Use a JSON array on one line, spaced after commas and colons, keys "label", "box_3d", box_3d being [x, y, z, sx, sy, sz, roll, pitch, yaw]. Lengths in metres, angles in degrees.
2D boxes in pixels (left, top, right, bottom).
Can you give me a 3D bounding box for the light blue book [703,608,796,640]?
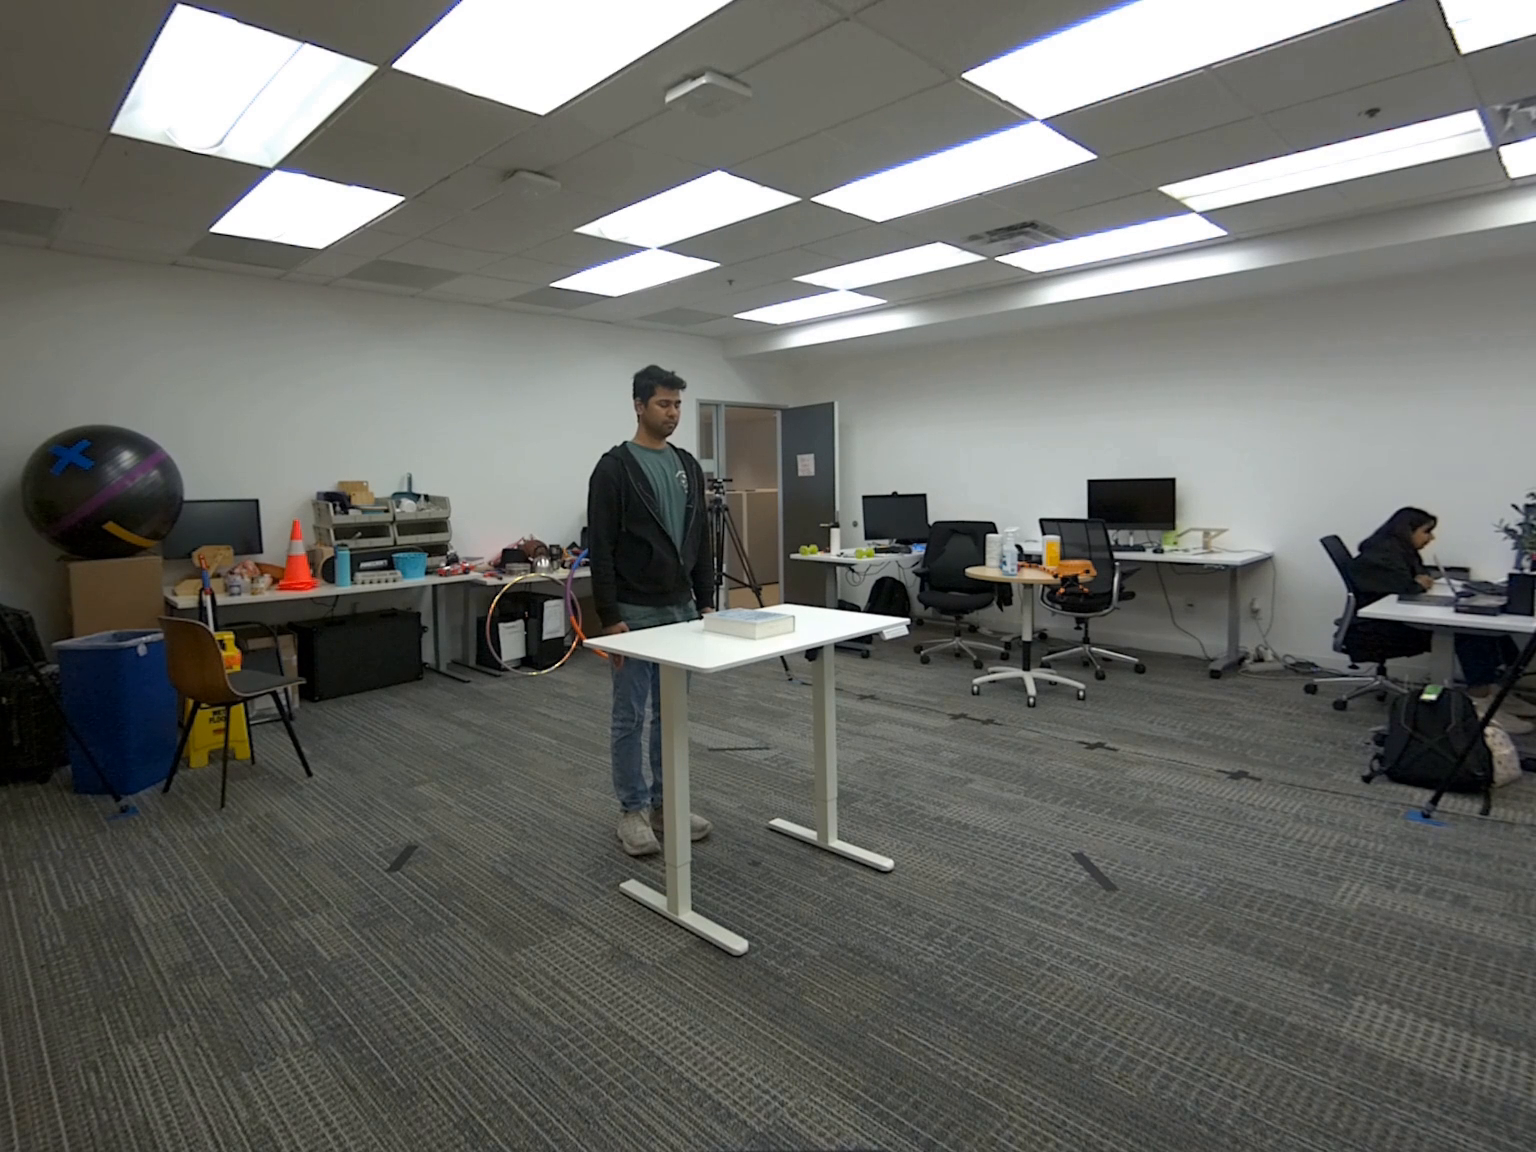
[{"label": "light blue book", "box_3d": [-0.067, 0.160, 2.884, 0.269, 0.059, 0.186, 5, 8, 45]}]
